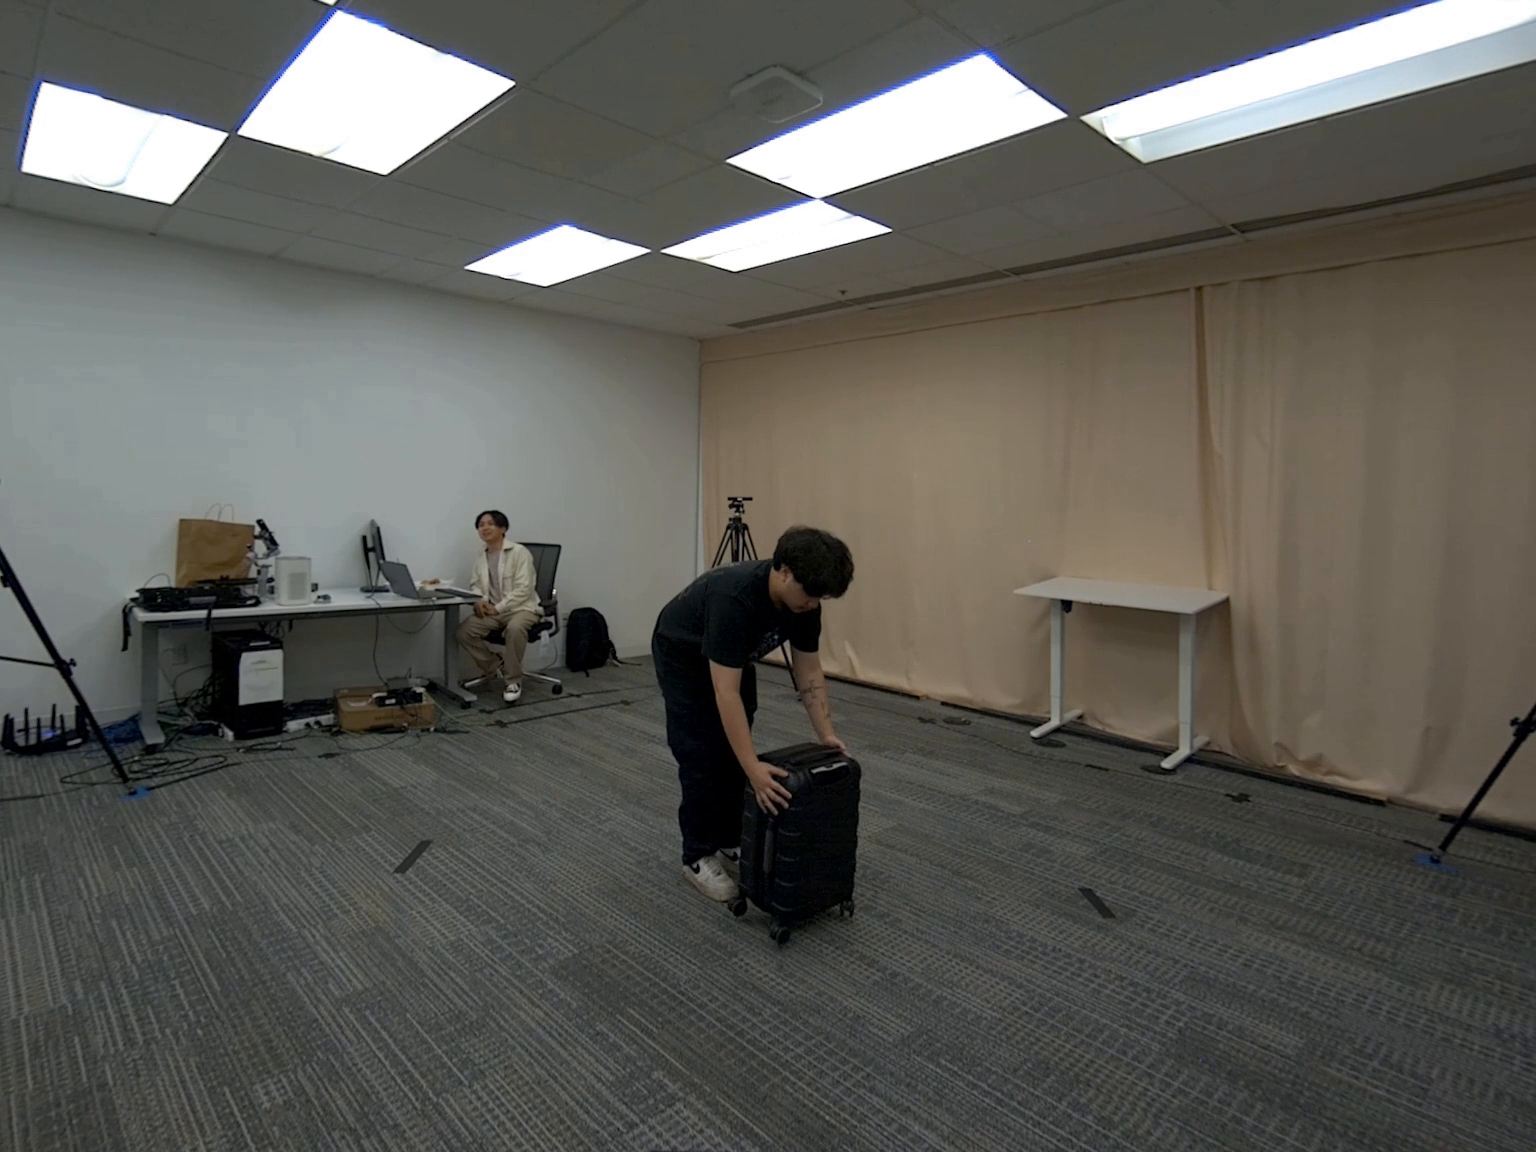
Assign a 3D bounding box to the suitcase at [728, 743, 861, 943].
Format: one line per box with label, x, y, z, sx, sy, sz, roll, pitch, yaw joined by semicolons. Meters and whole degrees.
suitcase;0.100;0.843;2.767;0.367;0.548;0.255;-1;6;-41
